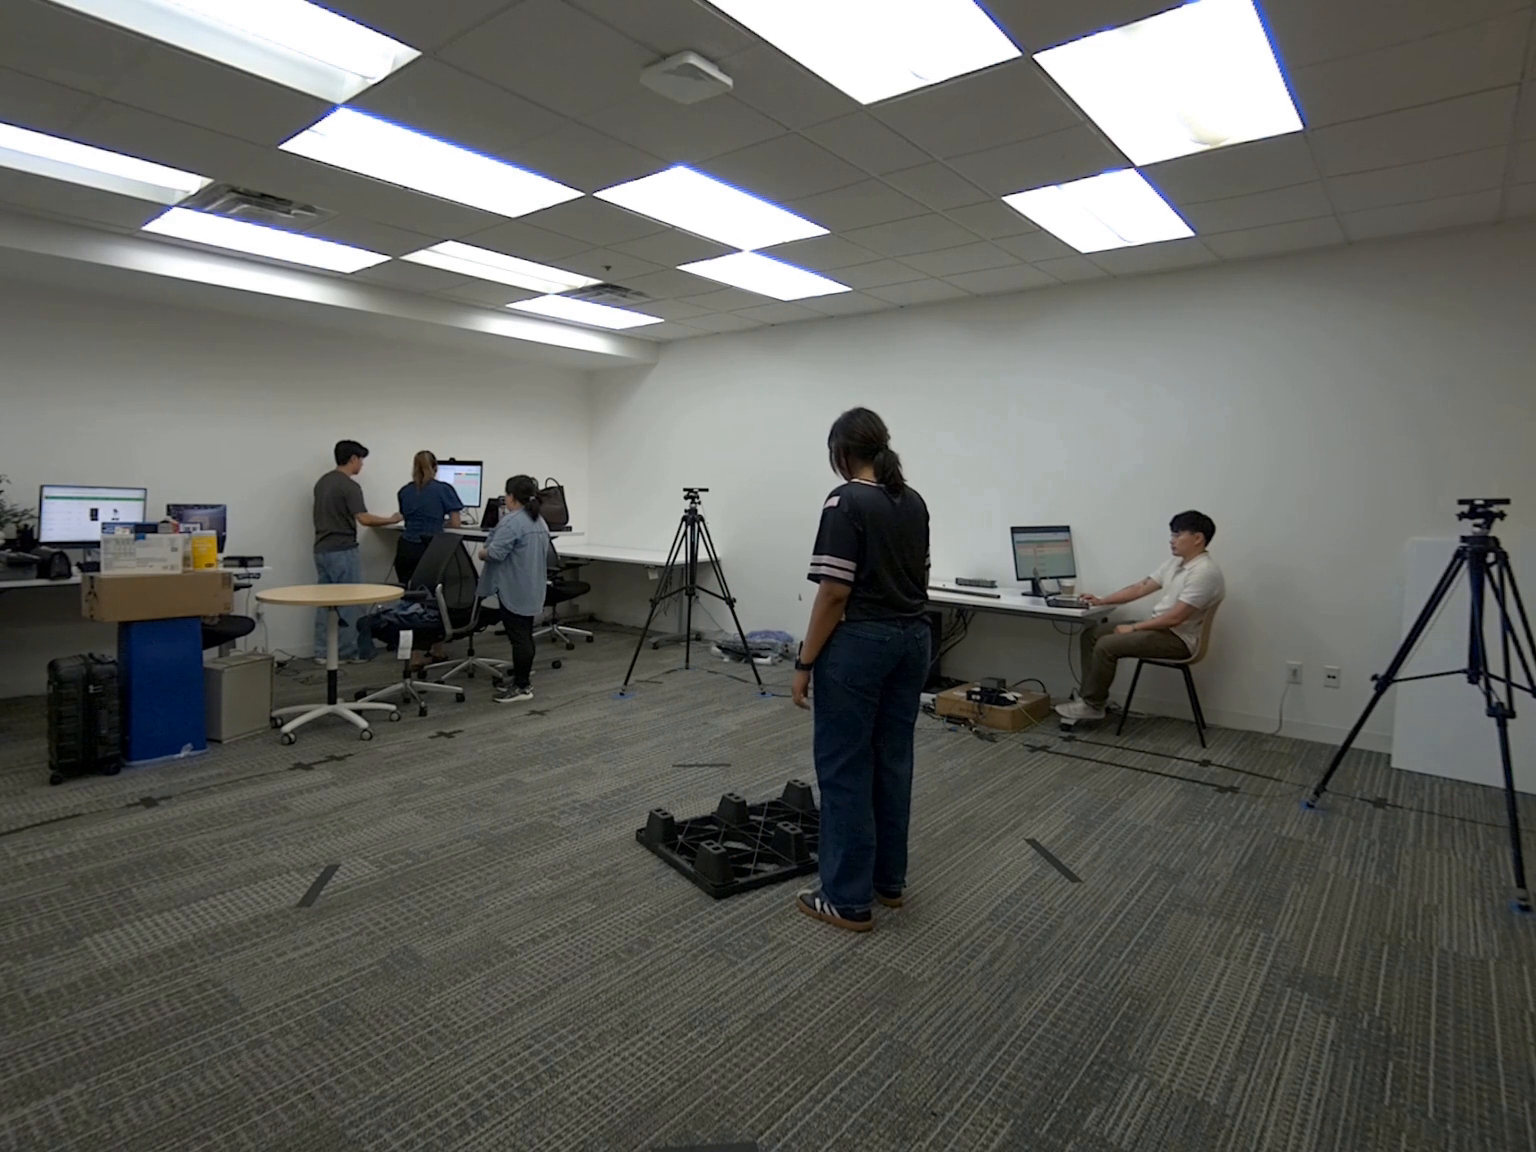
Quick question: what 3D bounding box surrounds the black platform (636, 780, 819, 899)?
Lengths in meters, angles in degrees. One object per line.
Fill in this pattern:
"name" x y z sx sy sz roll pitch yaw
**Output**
"black platform" -0.044 0.986 3.324 0.782 0.143 0.625 -3 6 -35
